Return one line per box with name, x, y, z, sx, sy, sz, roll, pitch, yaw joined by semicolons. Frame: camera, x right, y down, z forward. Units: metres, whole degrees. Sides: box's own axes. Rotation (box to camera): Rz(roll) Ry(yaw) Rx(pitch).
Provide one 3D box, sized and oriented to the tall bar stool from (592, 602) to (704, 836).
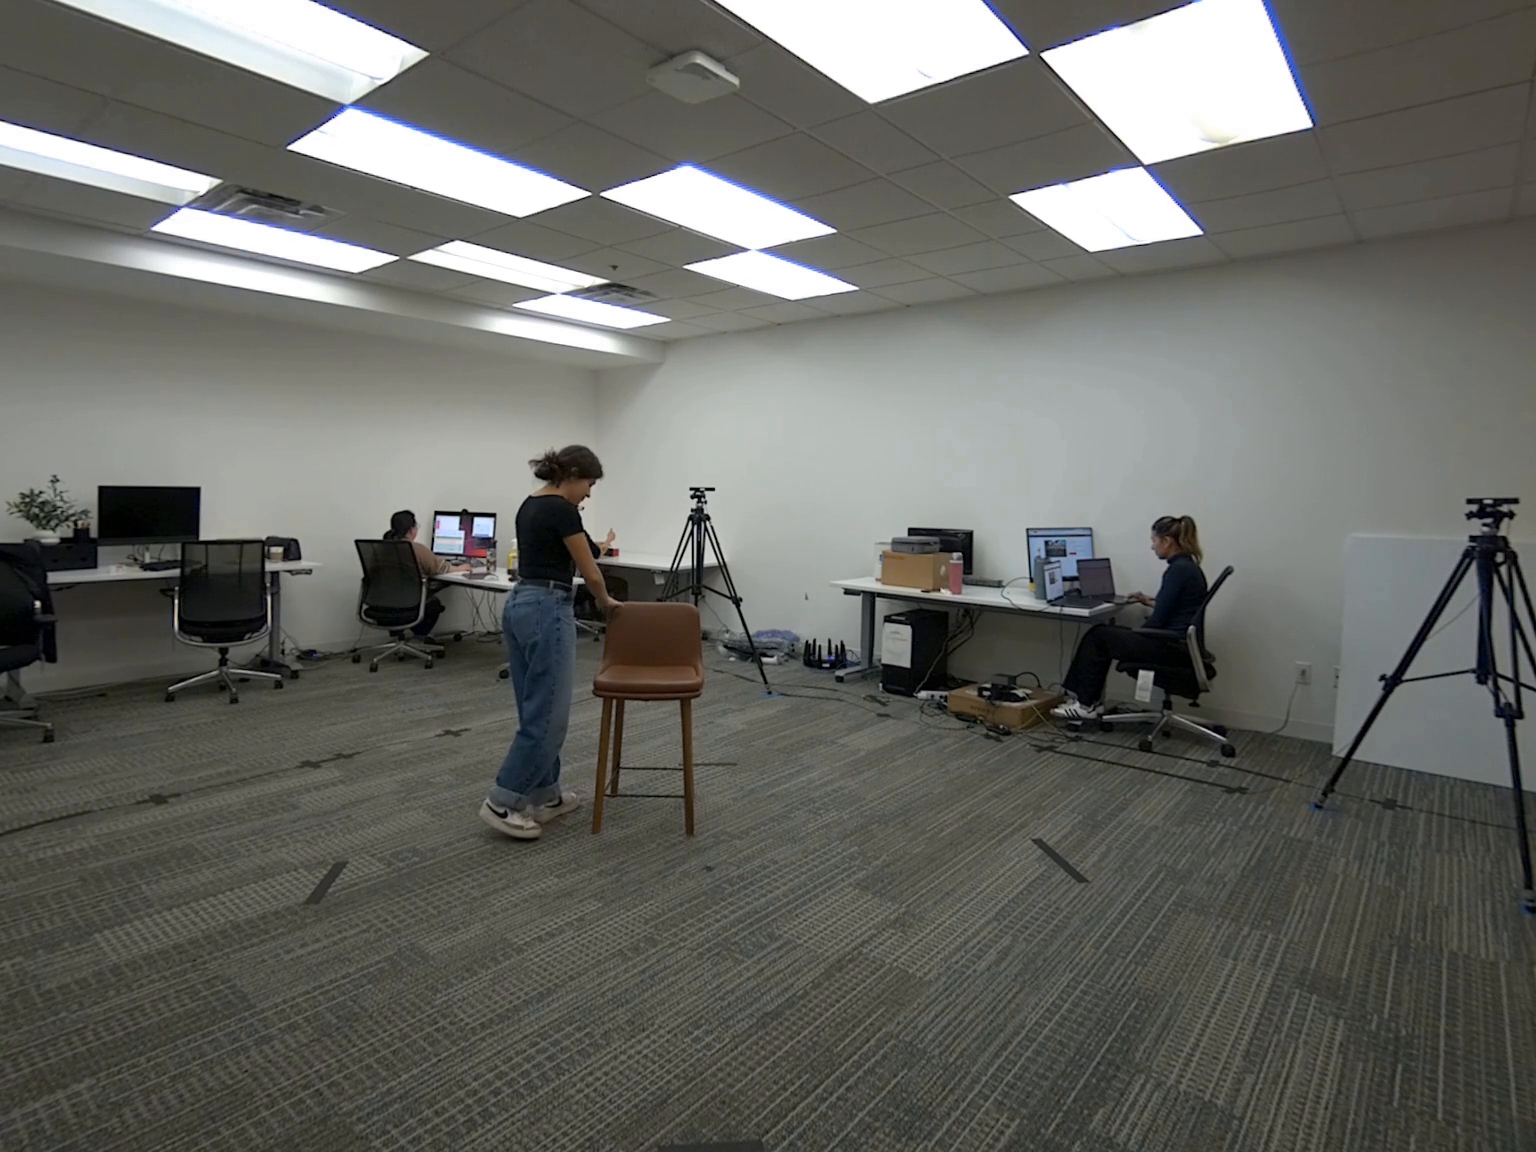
tall bar stool;-0.517;0.579;3.607;0.456;0.888;0.469;0;2;-1
